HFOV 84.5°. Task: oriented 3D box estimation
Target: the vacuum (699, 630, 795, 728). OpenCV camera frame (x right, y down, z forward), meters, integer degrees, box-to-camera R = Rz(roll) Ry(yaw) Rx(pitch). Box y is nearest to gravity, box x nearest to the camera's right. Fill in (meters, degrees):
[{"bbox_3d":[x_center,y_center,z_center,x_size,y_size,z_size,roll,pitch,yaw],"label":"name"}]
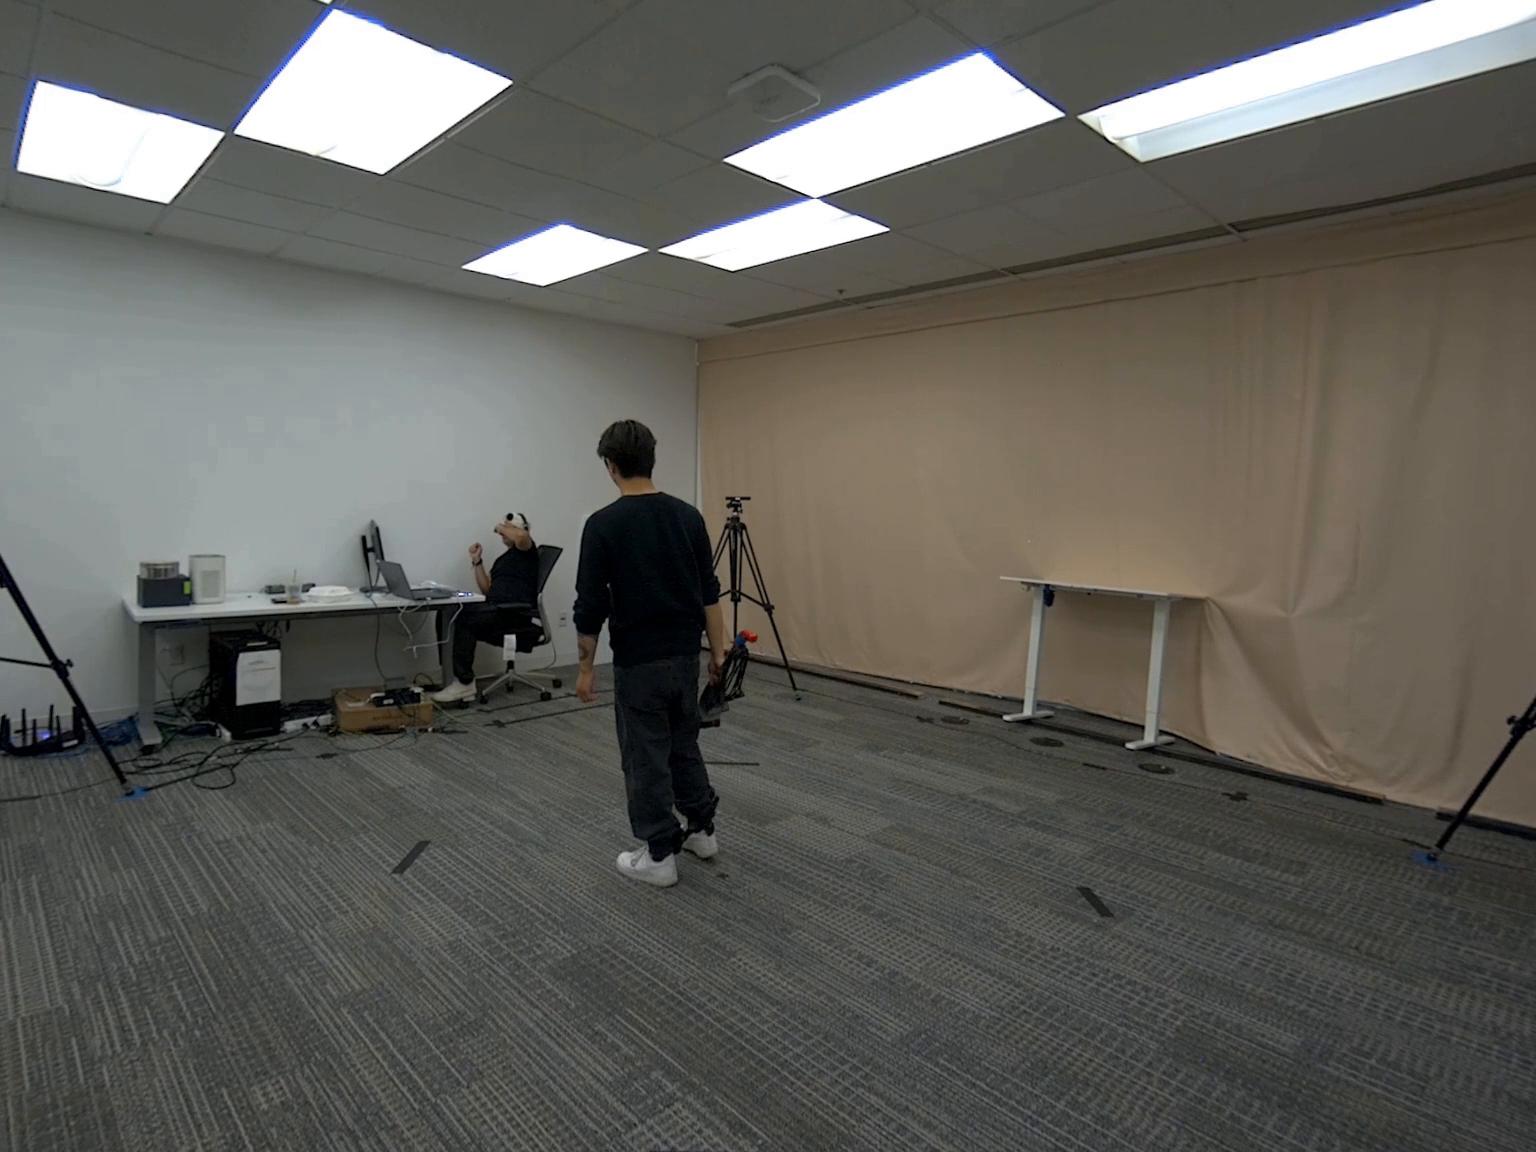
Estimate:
[{"bbox_3d":[-0.168,0.391,3.081,0.250,0.146,1.041,-1,-23,-14],"label":"vacuum"}]
